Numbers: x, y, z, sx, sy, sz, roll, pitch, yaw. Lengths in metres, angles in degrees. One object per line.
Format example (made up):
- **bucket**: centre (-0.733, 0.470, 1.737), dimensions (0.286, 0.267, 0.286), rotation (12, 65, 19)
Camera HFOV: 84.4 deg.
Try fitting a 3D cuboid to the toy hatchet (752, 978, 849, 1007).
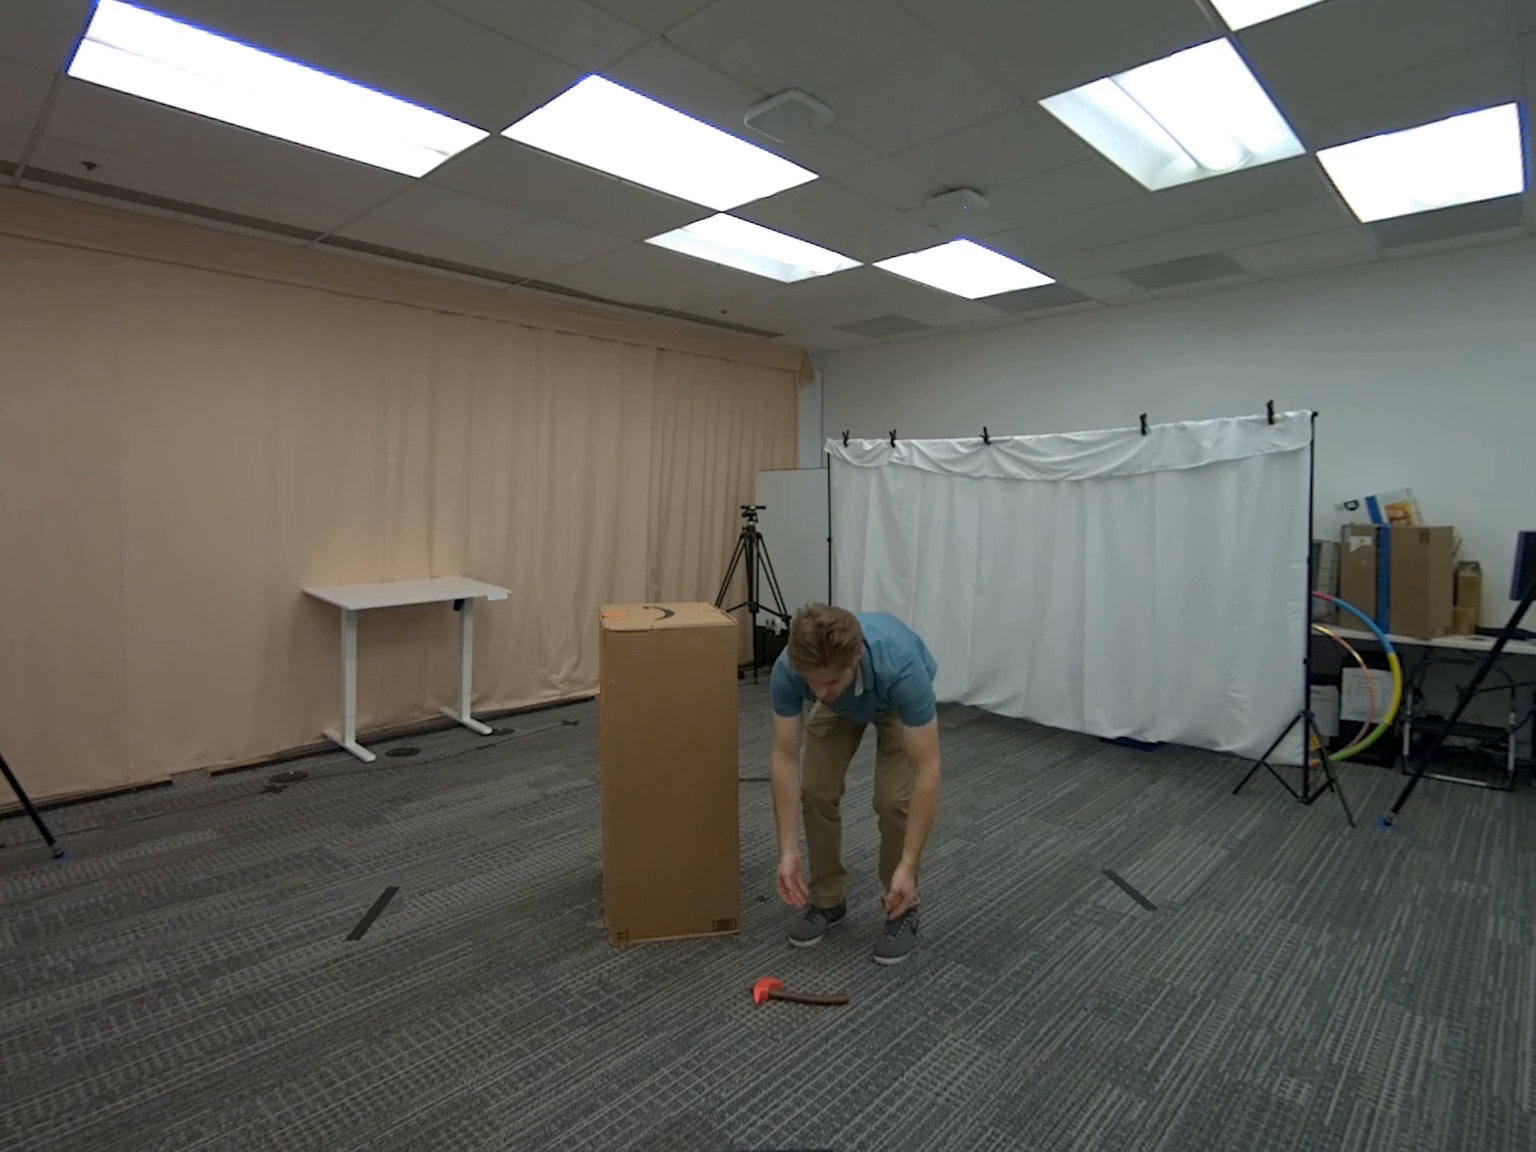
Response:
- **toy hatchet**: centre (0.091, 1.182, 2.394), dimensions (0.269, 0.029, 0.131), rotation (2, 0, -4)
